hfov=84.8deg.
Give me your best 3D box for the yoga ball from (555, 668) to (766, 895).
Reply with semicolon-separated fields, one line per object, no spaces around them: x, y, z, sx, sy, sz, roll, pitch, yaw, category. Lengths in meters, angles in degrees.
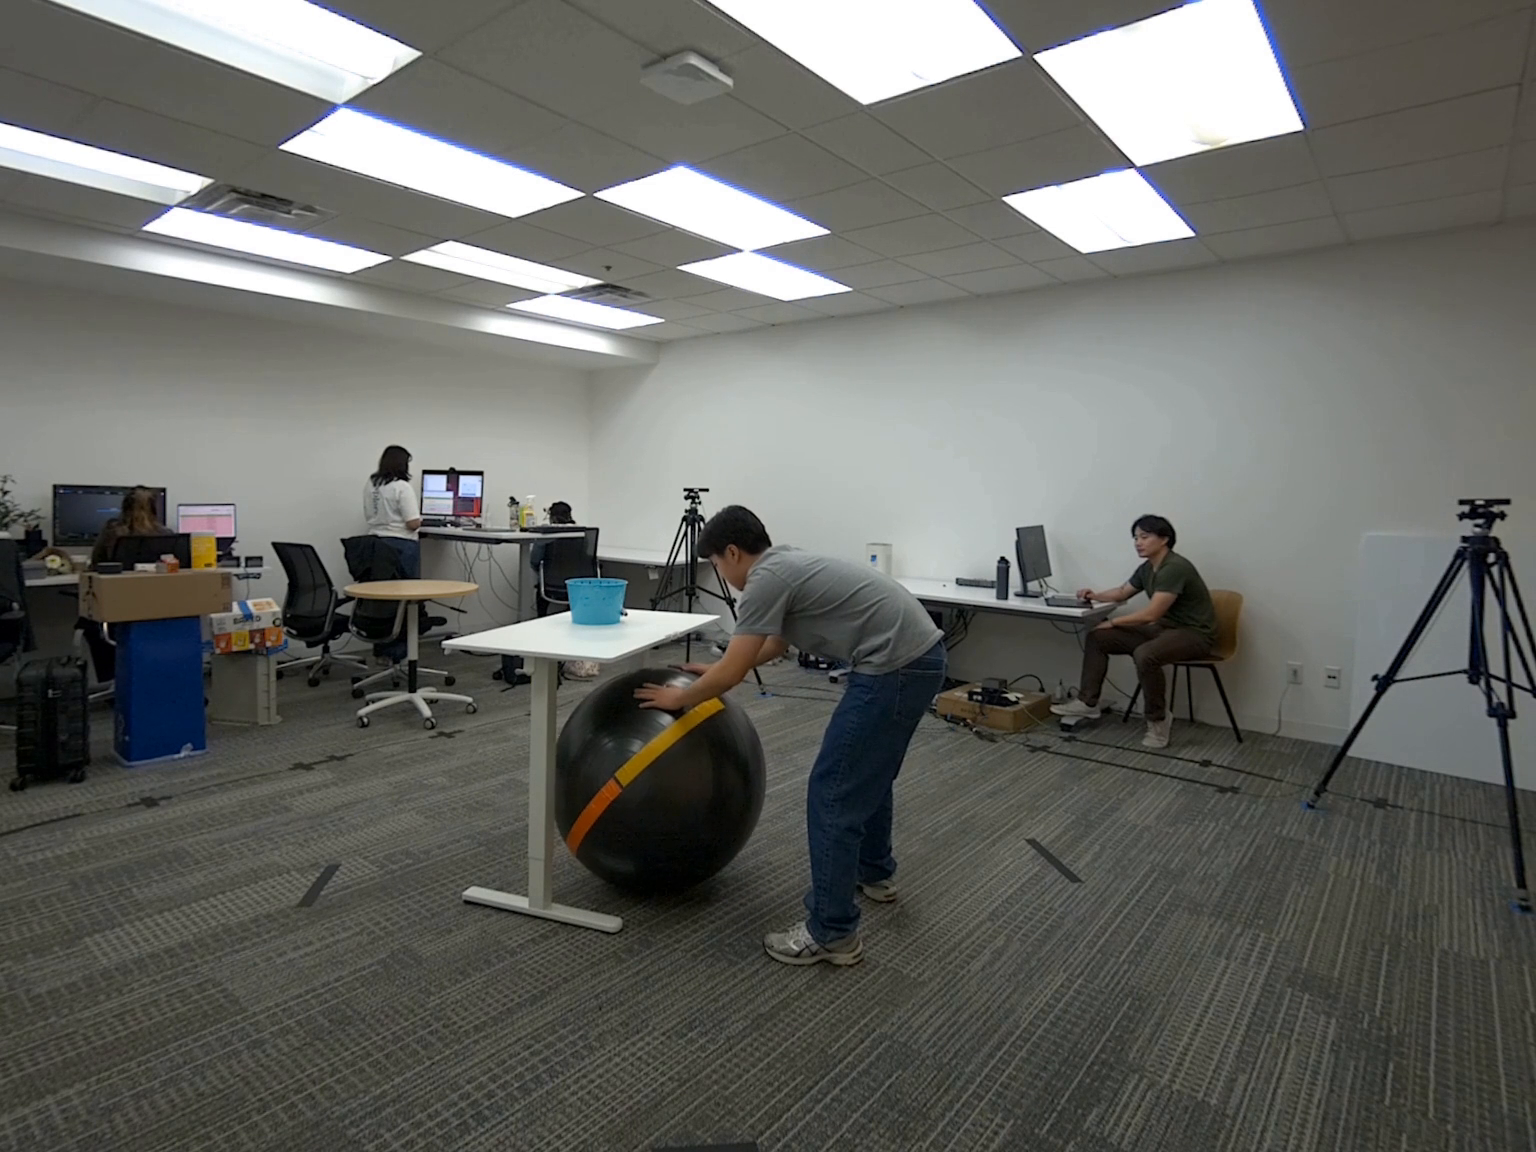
-0.398;0.708;2.991;0.757;0.755;0.762;1;4;-2;yoga ball
